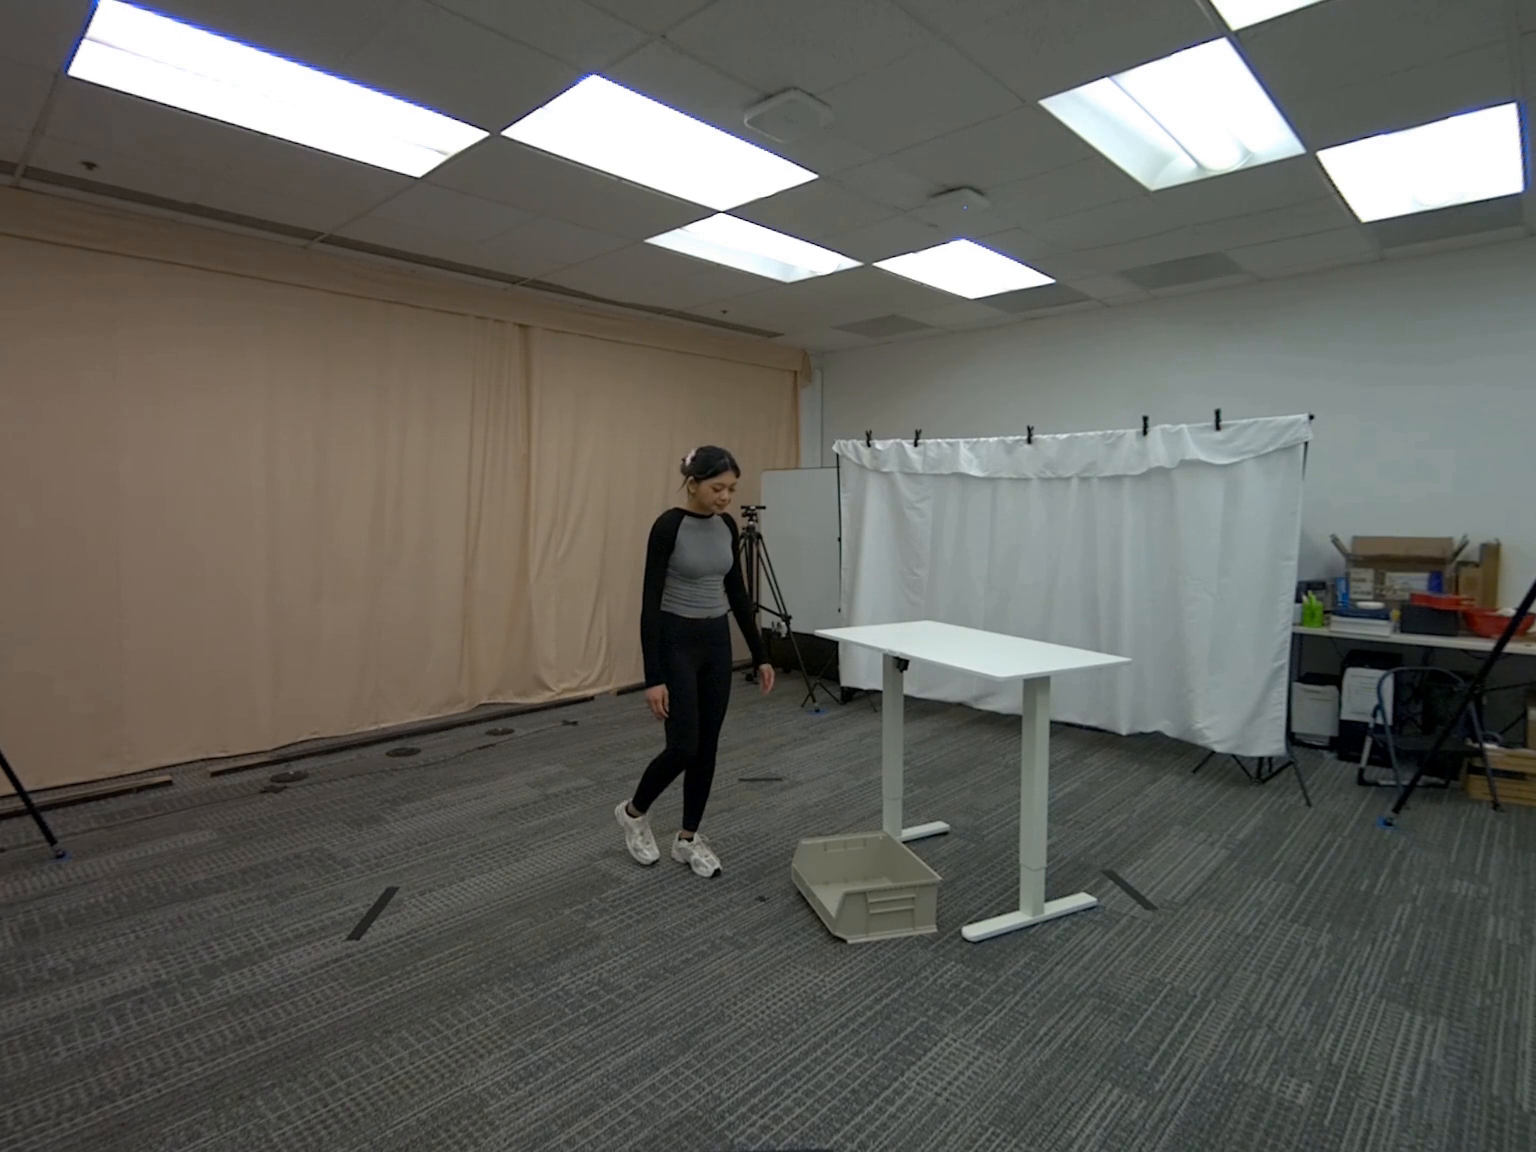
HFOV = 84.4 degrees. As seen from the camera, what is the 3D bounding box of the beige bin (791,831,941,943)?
[{"bbox_3d":[0.327,1.058,2.897,0.371,0.188,0.430,-1,4,-16],"label":"beige bin"}]
